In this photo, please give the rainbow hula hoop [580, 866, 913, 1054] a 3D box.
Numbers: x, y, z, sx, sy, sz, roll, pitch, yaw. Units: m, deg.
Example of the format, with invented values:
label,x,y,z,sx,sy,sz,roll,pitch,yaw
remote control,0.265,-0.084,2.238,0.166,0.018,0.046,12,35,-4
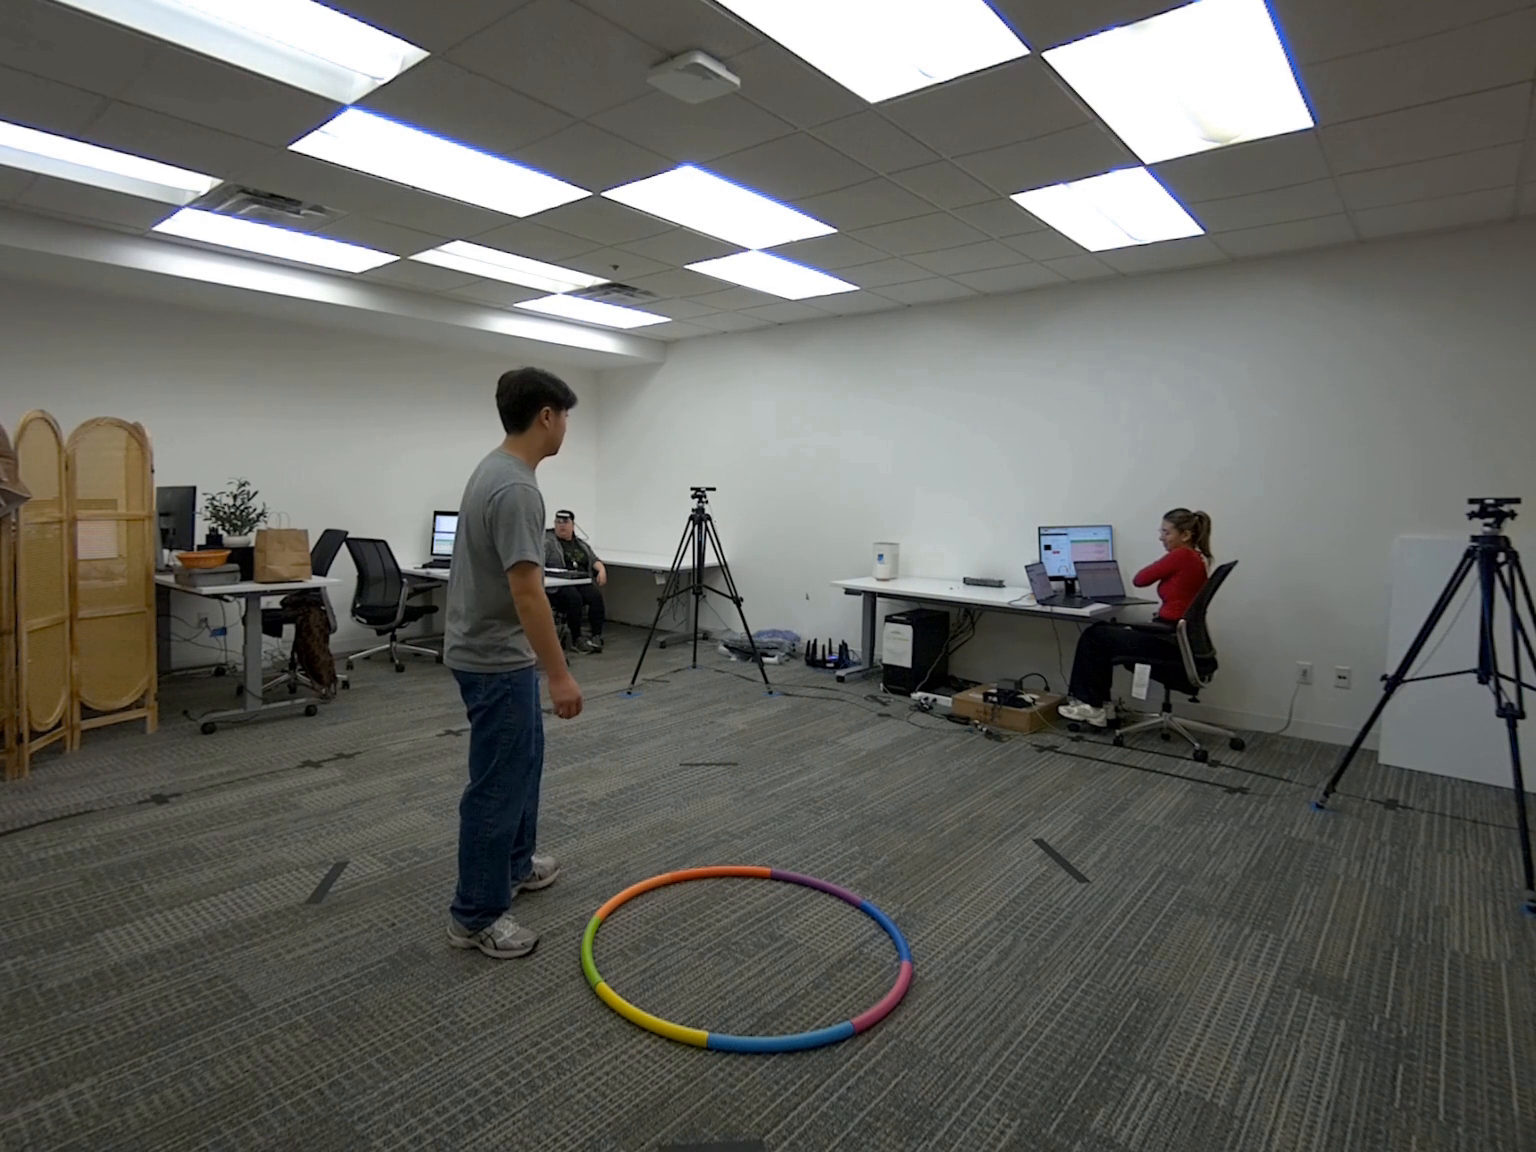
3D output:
label,x,y,z,sx,sy,sz,roll,pitch,yaw
rainbow hula hoop,-0.079,1.088,2.582,0.978,0.035,0.984,1,6,-2
